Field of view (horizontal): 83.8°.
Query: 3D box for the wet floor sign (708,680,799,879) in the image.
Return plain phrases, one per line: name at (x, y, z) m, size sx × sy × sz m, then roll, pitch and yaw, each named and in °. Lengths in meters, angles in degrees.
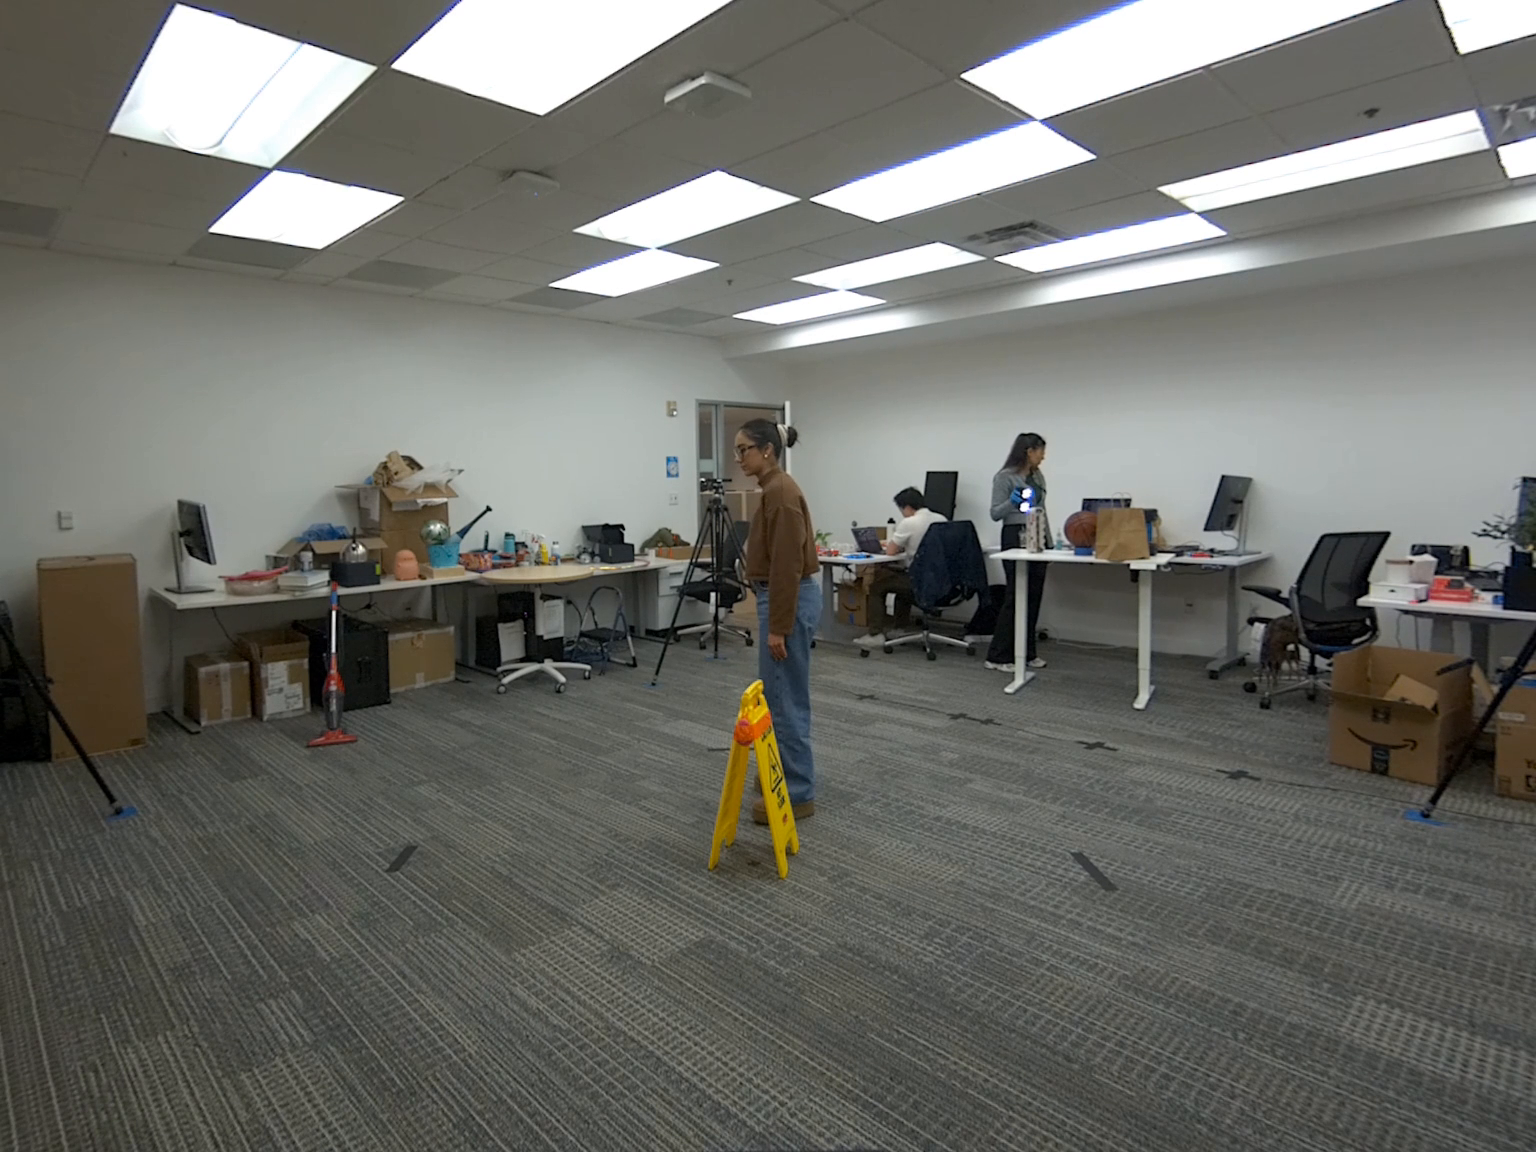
wet floor sign at (-0.053, 0.719, 3.125) m, size 0.294 × 0.645 × 0.278 m, roll -1°, pitch 2°, yaw 16°
